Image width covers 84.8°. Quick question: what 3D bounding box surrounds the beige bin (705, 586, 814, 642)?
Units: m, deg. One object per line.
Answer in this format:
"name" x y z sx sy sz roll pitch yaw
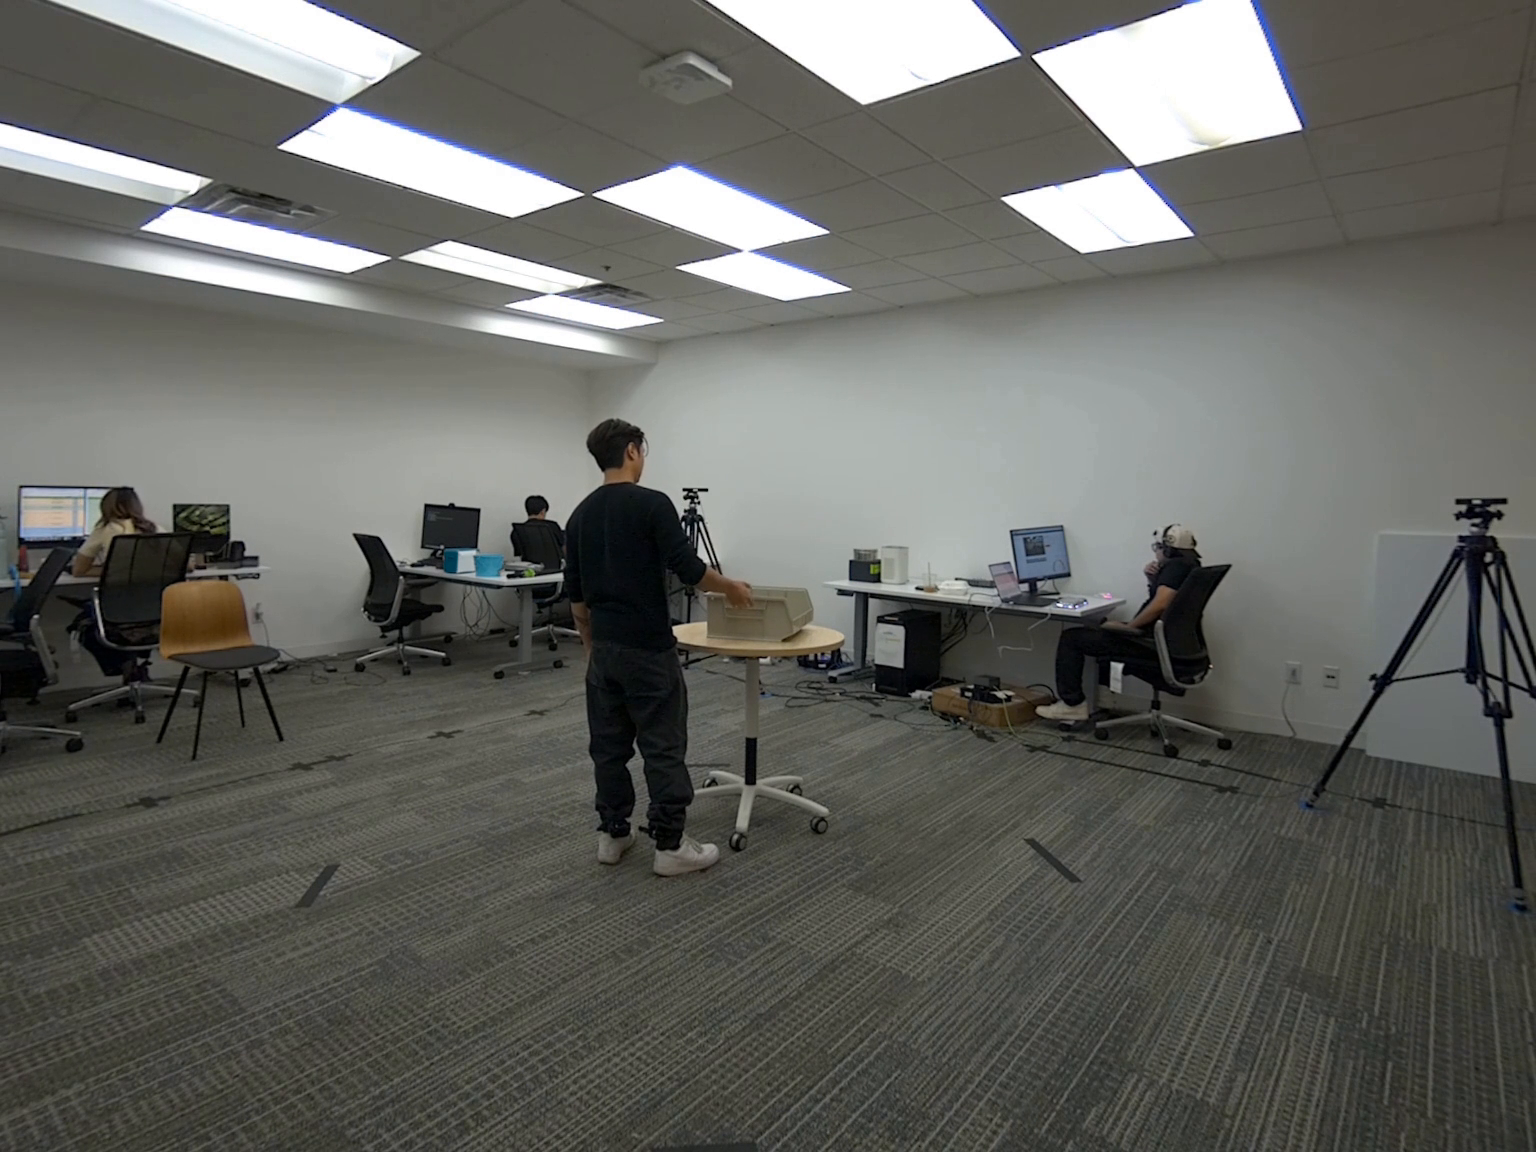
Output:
"beige bin" -0.032 0.157 3.630 0.382 0.188 0.419 2 6 11
